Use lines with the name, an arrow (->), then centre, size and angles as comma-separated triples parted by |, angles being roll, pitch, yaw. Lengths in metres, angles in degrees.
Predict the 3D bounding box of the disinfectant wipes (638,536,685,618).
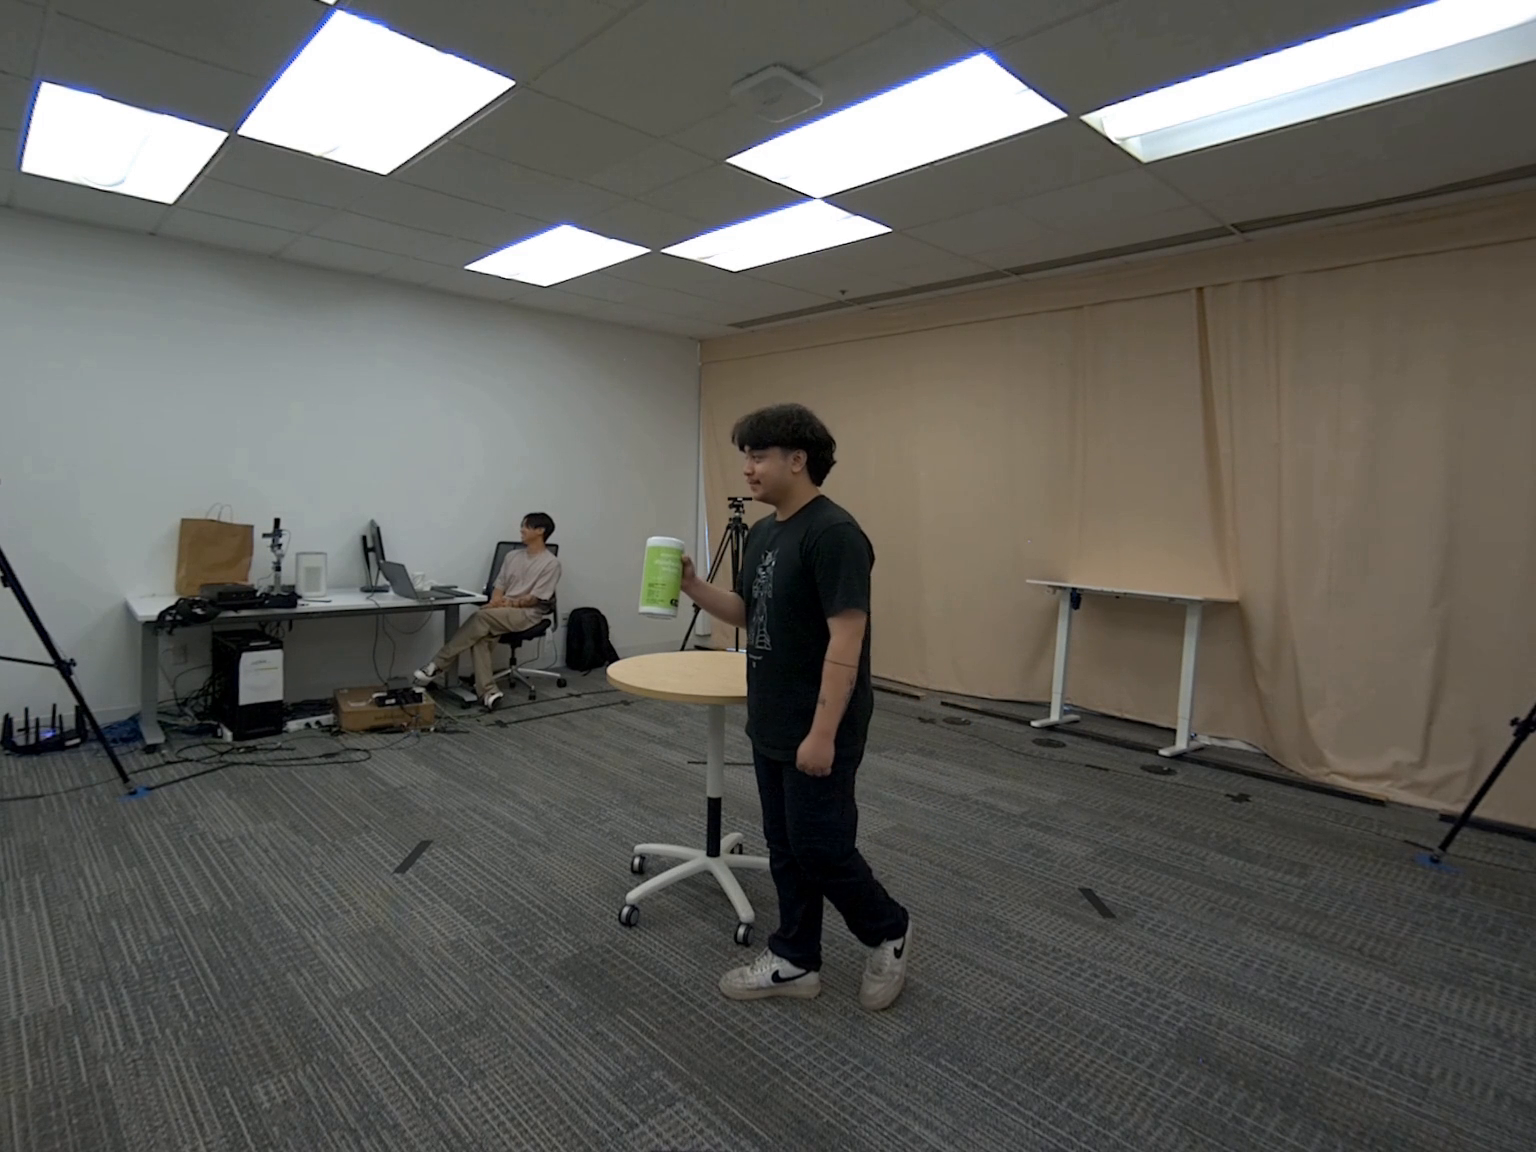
disinfectant wipes -> -0.296, 0.008, 2.339 | 0.118, 0.218, 0.117 | 7, -8, -1
